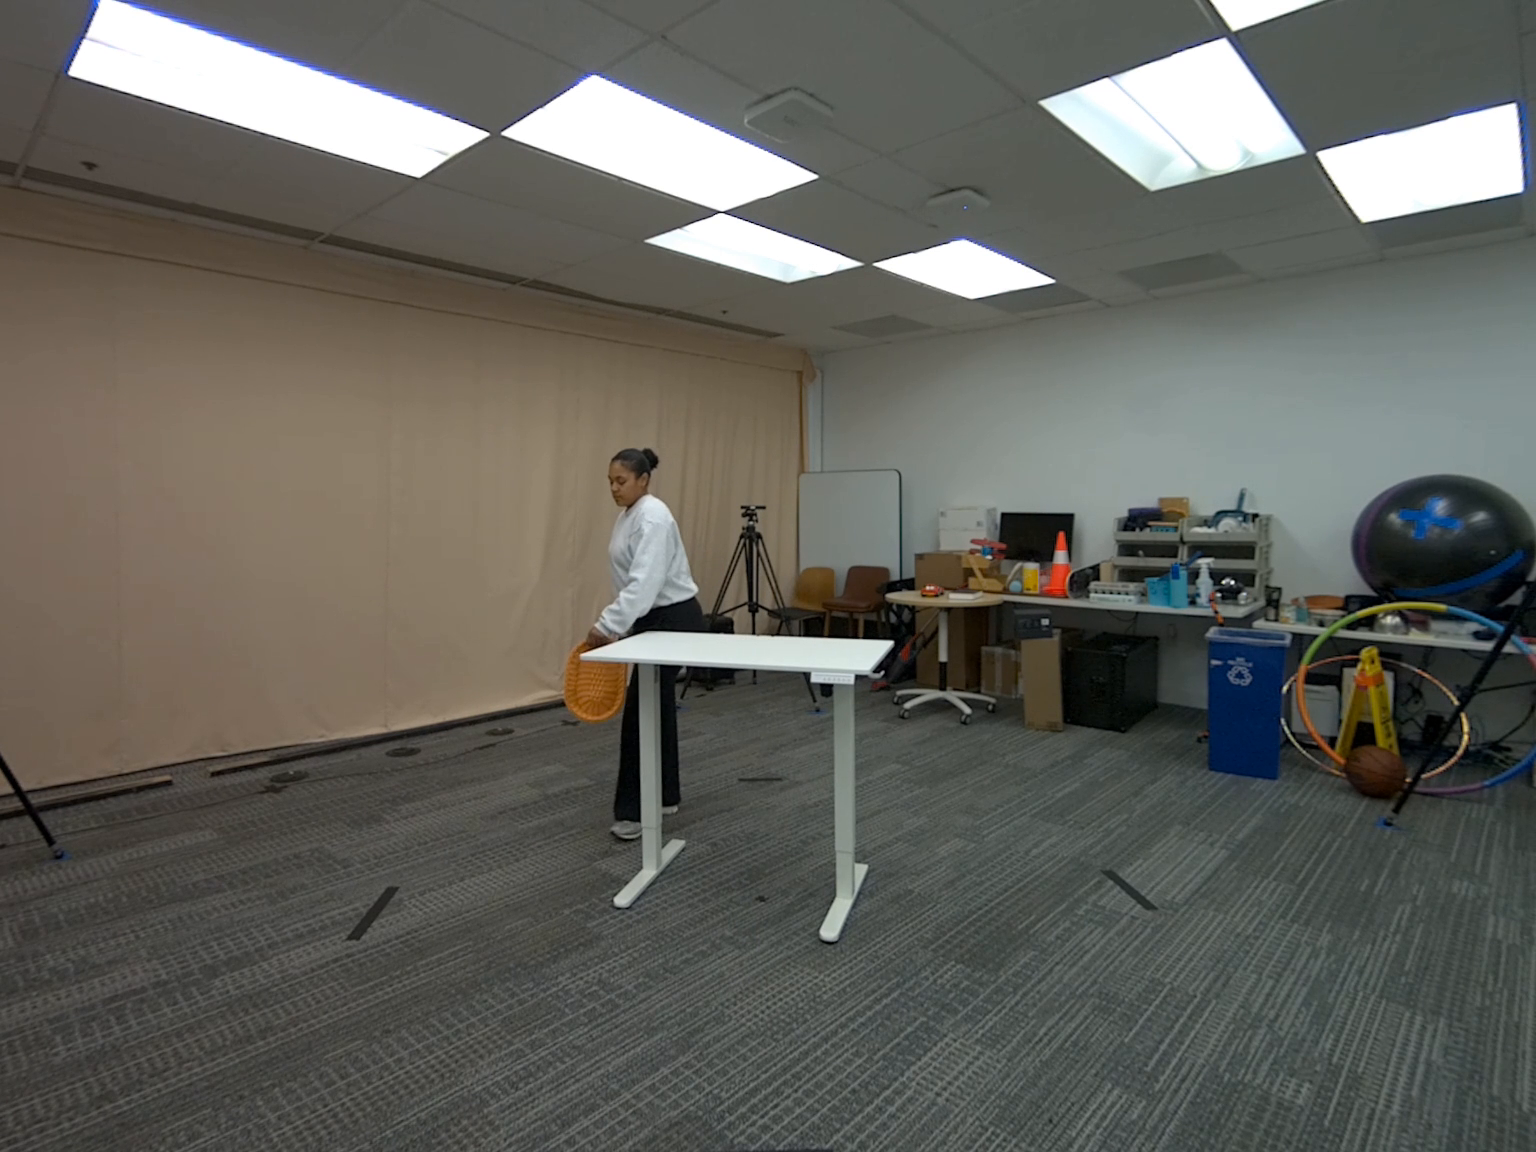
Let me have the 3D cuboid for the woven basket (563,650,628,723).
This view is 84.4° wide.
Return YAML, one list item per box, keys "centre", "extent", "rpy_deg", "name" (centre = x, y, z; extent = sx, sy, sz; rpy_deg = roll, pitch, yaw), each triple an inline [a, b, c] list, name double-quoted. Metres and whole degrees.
- centre: [-0.696, 0.423, 3.367]
  extent: [0.253, 0.353, 0.072]
  rpy_deg: [6, -19, 3]
  name: "woven basket"
